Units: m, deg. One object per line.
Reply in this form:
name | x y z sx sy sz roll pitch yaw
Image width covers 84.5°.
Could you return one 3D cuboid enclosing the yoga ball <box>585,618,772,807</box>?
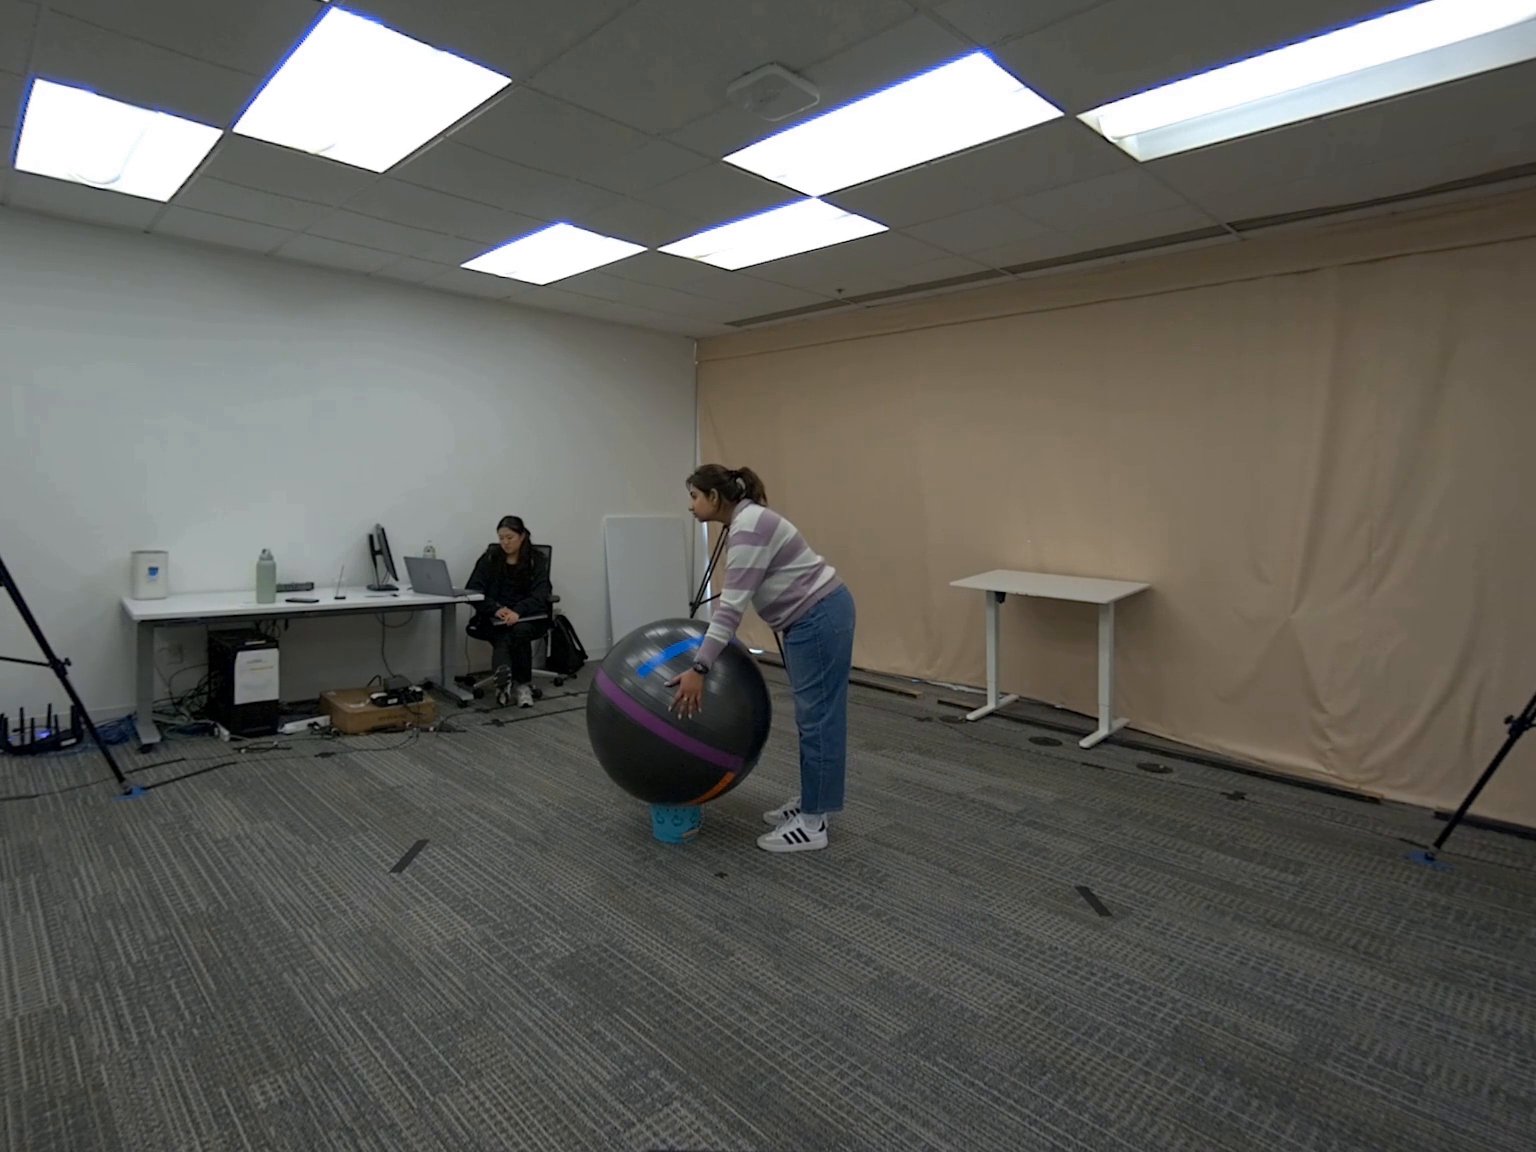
yoga ball | -0.367 0.558 3.476 0.757 0.756 0.761 1 4 -1
